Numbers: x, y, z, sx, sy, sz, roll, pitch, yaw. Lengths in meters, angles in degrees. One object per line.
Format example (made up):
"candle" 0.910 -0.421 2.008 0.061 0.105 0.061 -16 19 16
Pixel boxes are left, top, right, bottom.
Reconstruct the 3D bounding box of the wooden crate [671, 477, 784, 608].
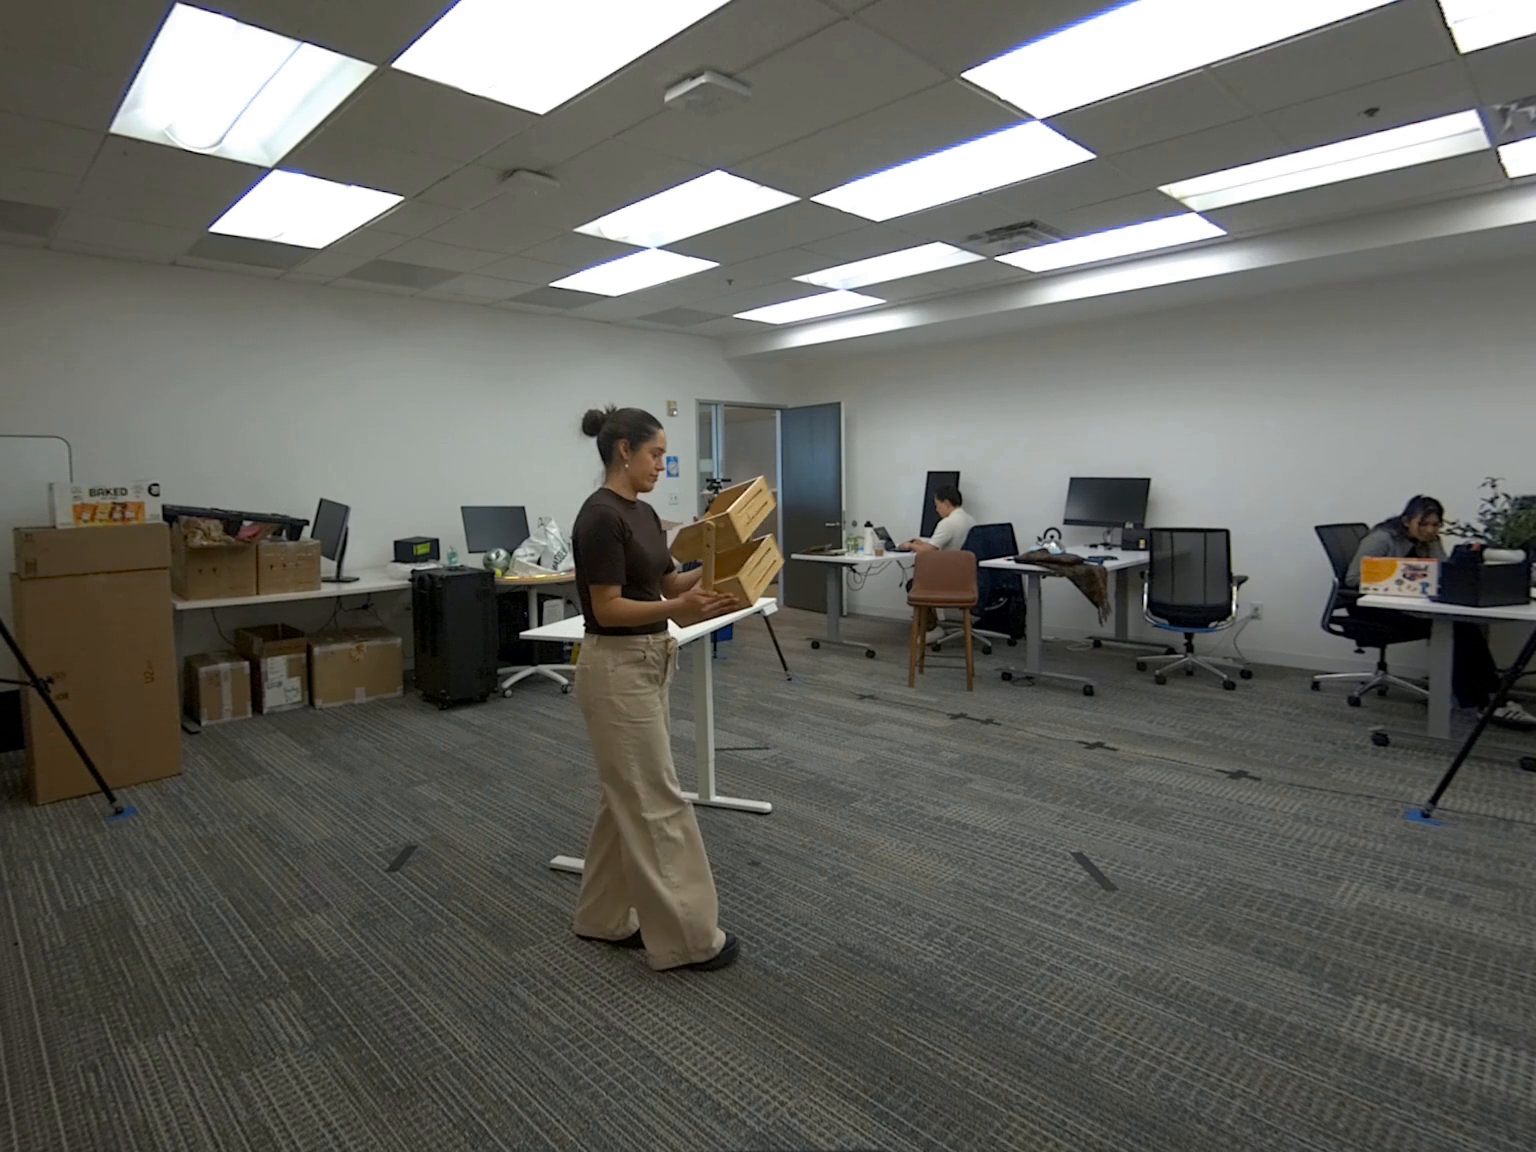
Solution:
"wooden crate" -0.133 -0.071 2.358 0.306 0.269 0.325 -19 15 26
